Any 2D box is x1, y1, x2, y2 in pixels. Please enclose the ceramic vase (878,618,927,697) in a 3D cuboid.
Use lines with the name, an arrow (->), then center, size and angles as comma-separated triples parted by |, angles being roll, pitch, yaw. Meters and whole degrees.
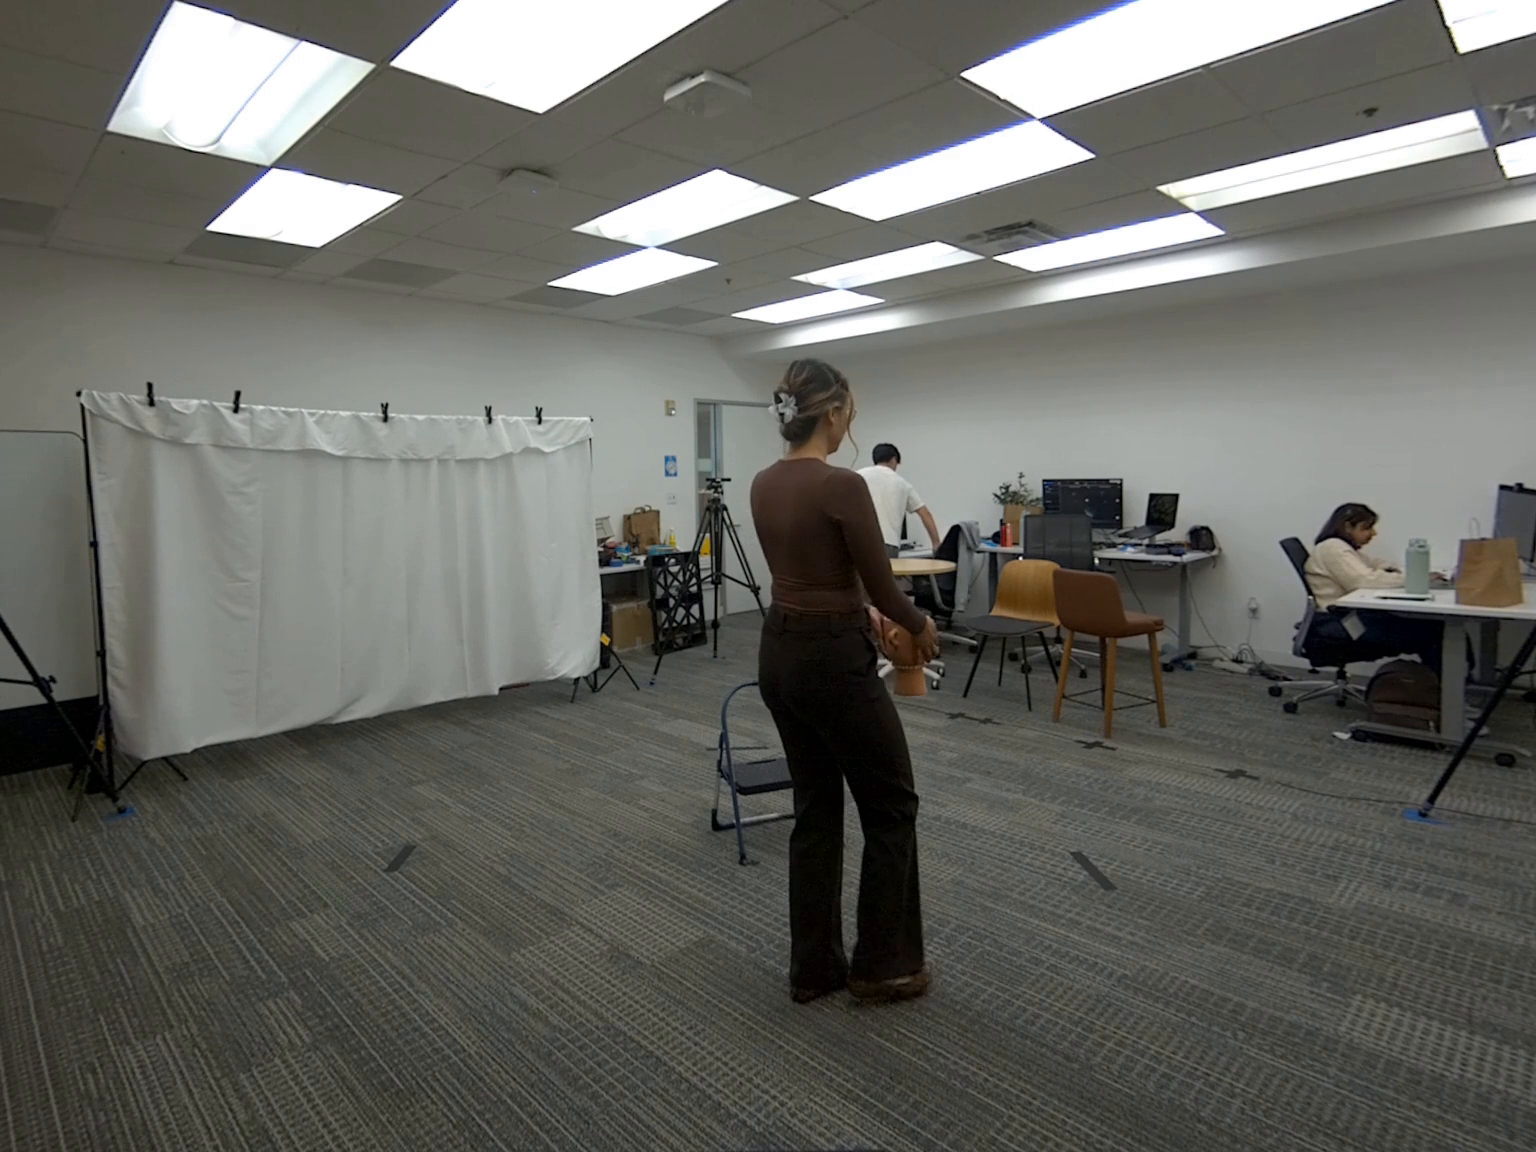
ceramic vase -> 0.410, 0.233, 2.485 | 0.157, 0.219, 0.136 | -4, 5, -11
